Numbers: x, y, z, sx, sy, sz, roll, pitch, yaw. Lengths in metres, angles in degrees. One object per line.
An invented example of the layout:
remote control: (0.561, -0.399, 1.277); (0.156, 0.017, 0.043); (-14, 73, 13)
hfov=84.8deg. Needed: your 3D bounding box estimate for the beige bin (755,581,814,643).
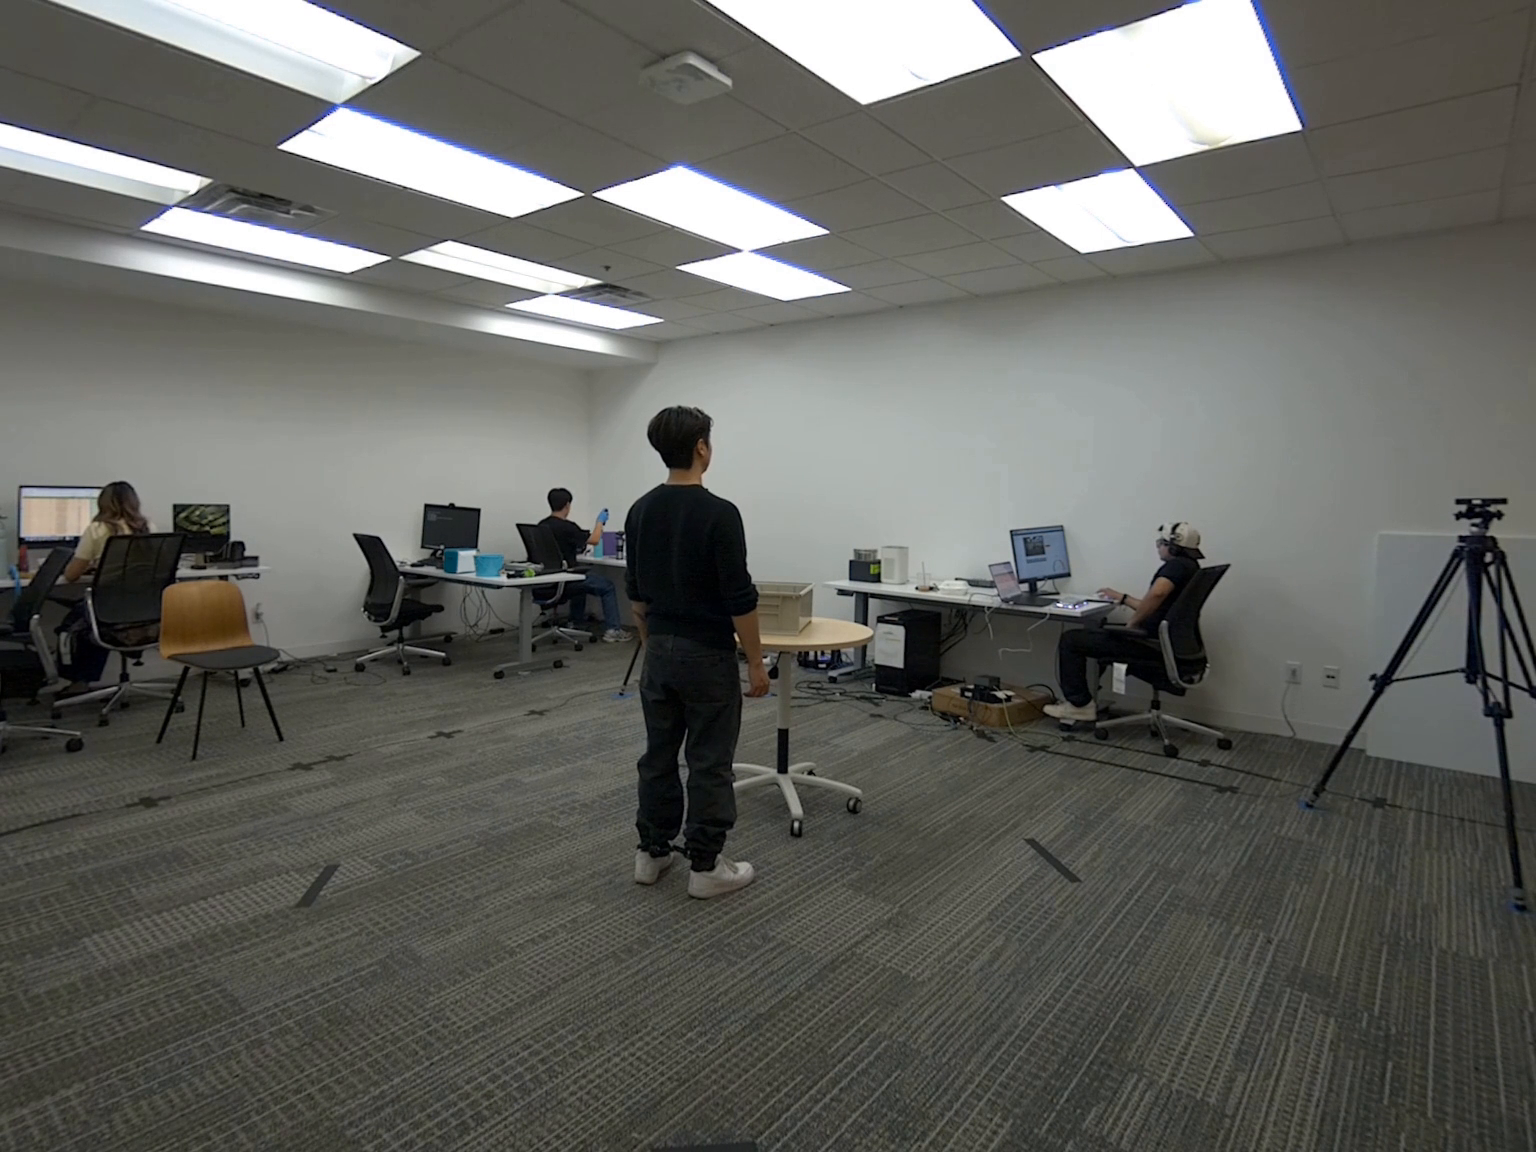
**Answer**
beige bin: (-0.014, 0.133, 3.803); (0.383, 0.188, 0.418); (3, 6, 12)
